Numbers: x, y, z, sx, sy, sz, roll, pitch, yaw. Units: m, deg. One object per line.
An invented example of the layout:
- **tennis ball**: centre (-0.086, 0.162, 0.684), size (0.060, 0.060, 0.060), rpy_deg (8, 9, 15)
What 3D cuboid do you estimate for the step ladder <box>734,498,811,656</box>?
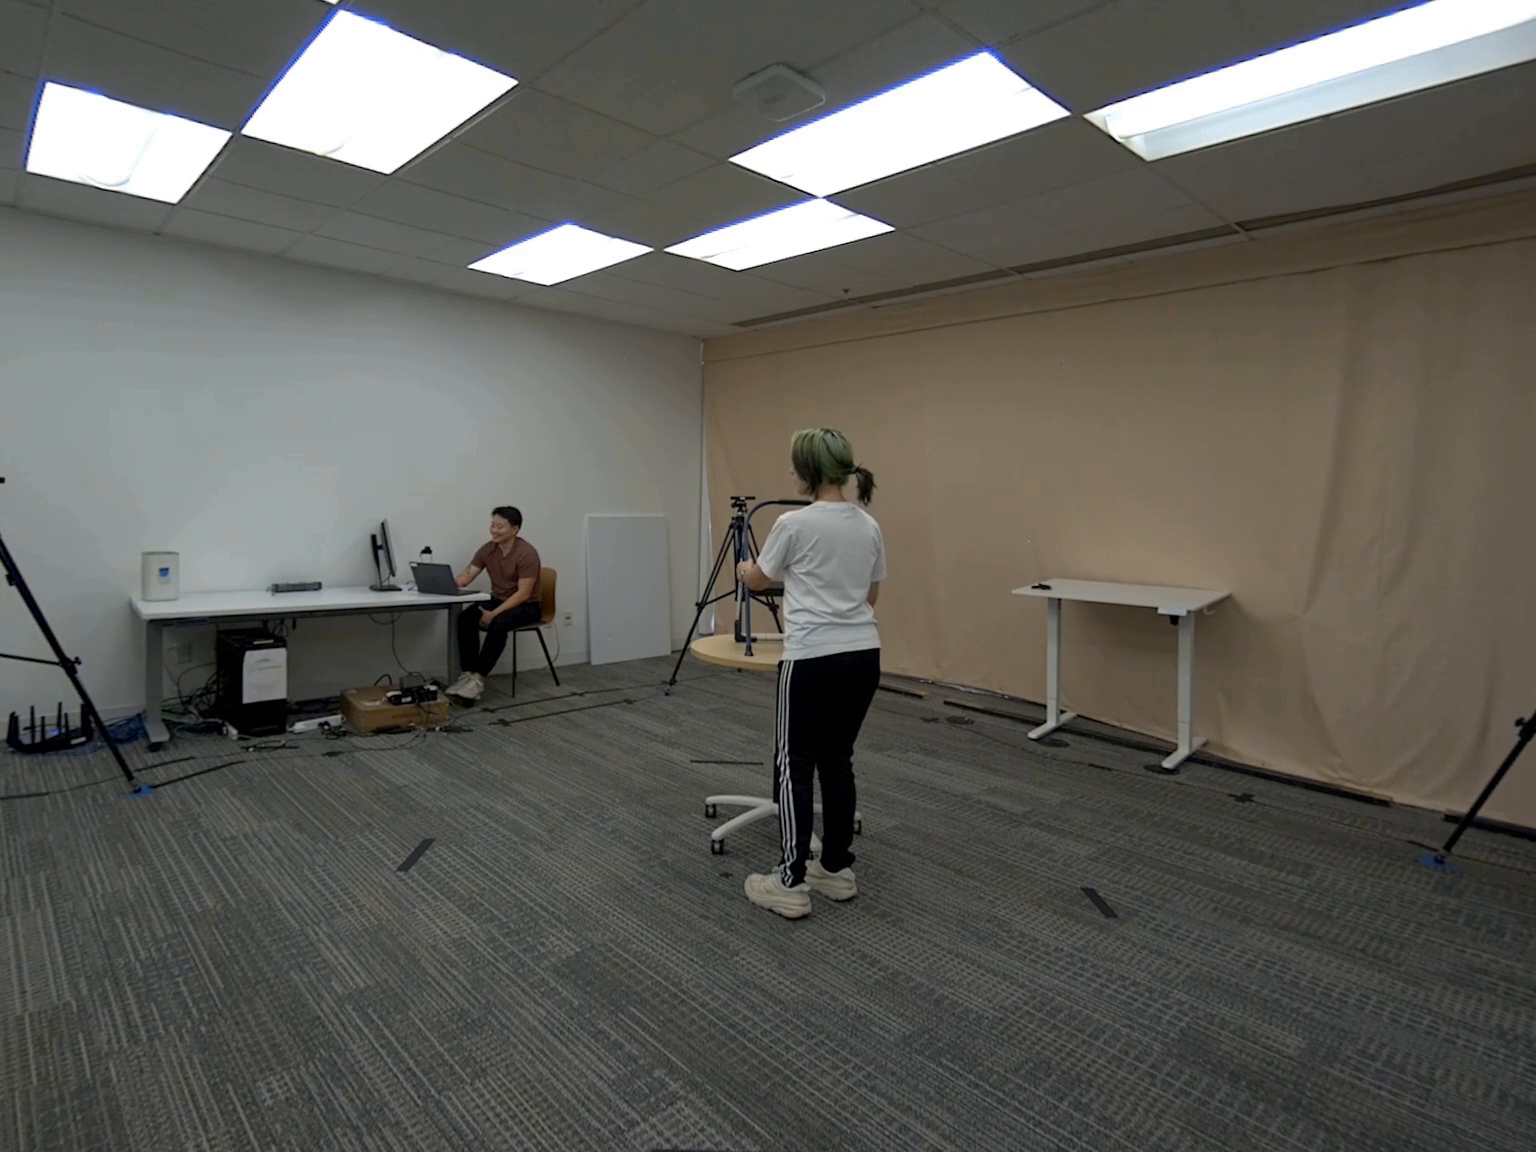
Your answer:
- **step ladder**: centre (0.096, -0.004, 3.414), size (0.427, 0.605, 0.352), rpy_deg (2, 3, -9)
